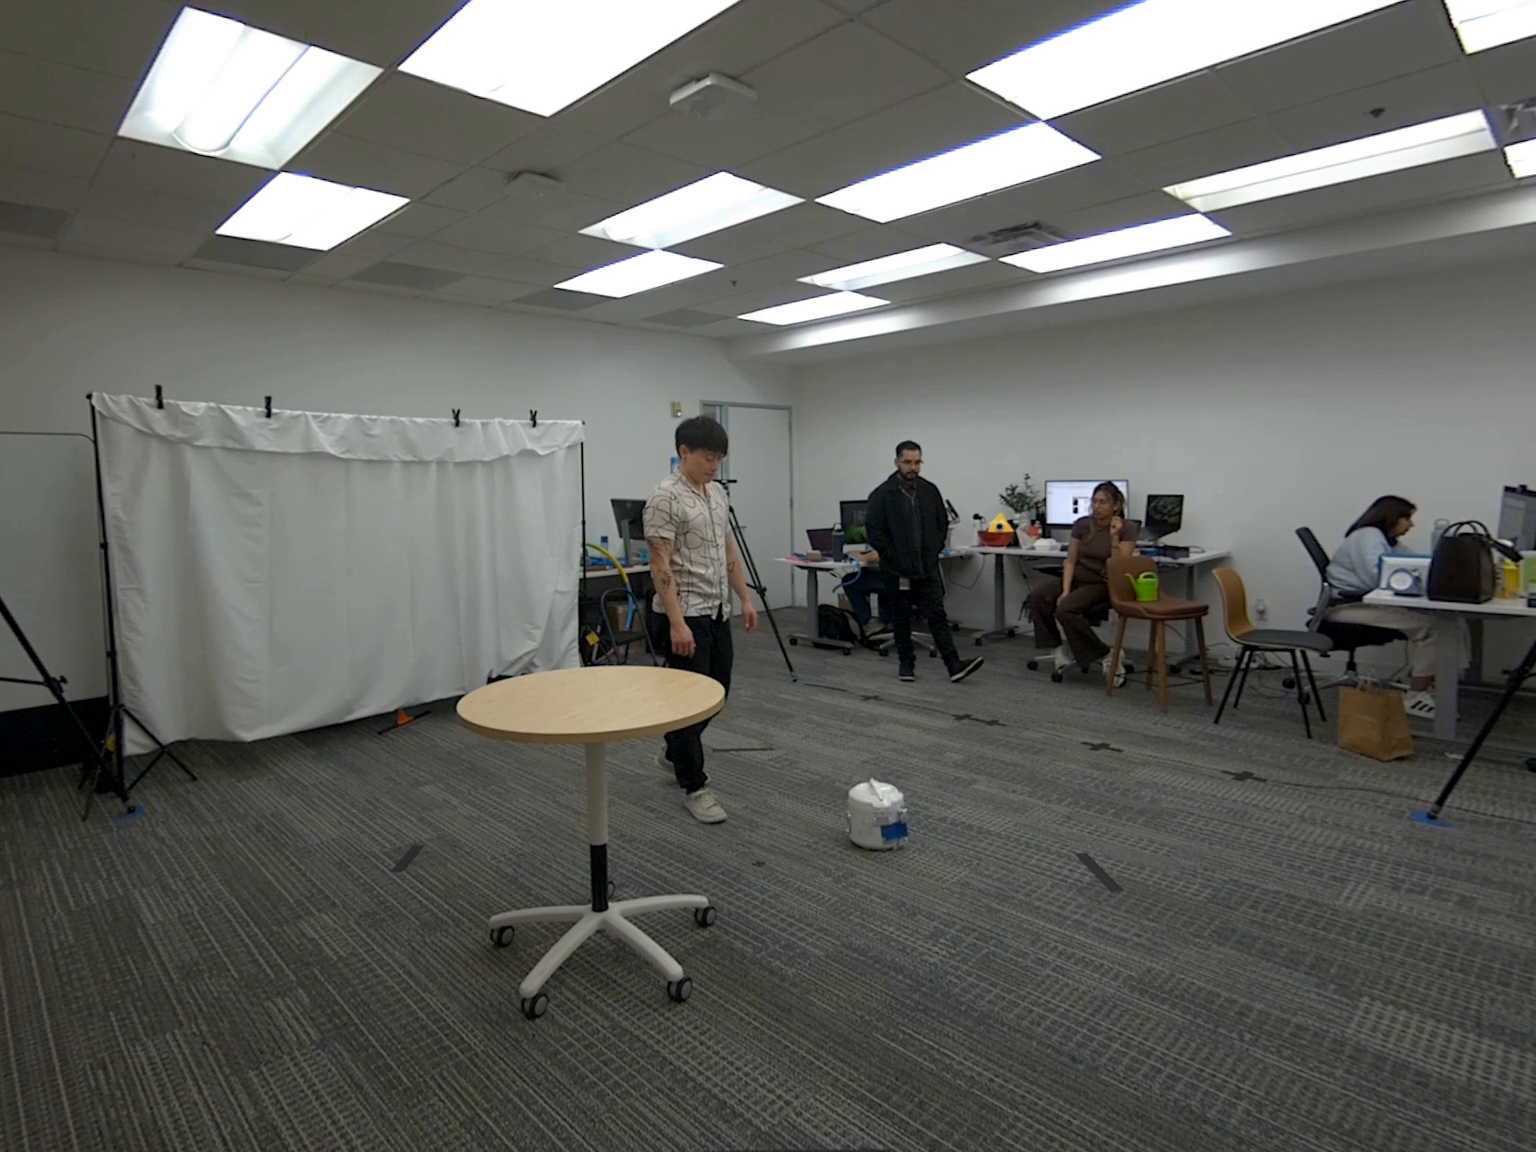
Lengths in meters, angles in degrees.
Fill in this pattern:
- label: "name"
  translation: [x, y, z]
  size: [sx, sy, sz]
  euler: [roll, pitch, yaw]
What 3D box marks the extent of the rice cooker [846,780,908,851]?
- label: "rice cooker"
  translation: [0.412, 0.903, 3.271]
  size: [0.217, 0.232, 0.222]
  euler: [-1, 4, -4]
